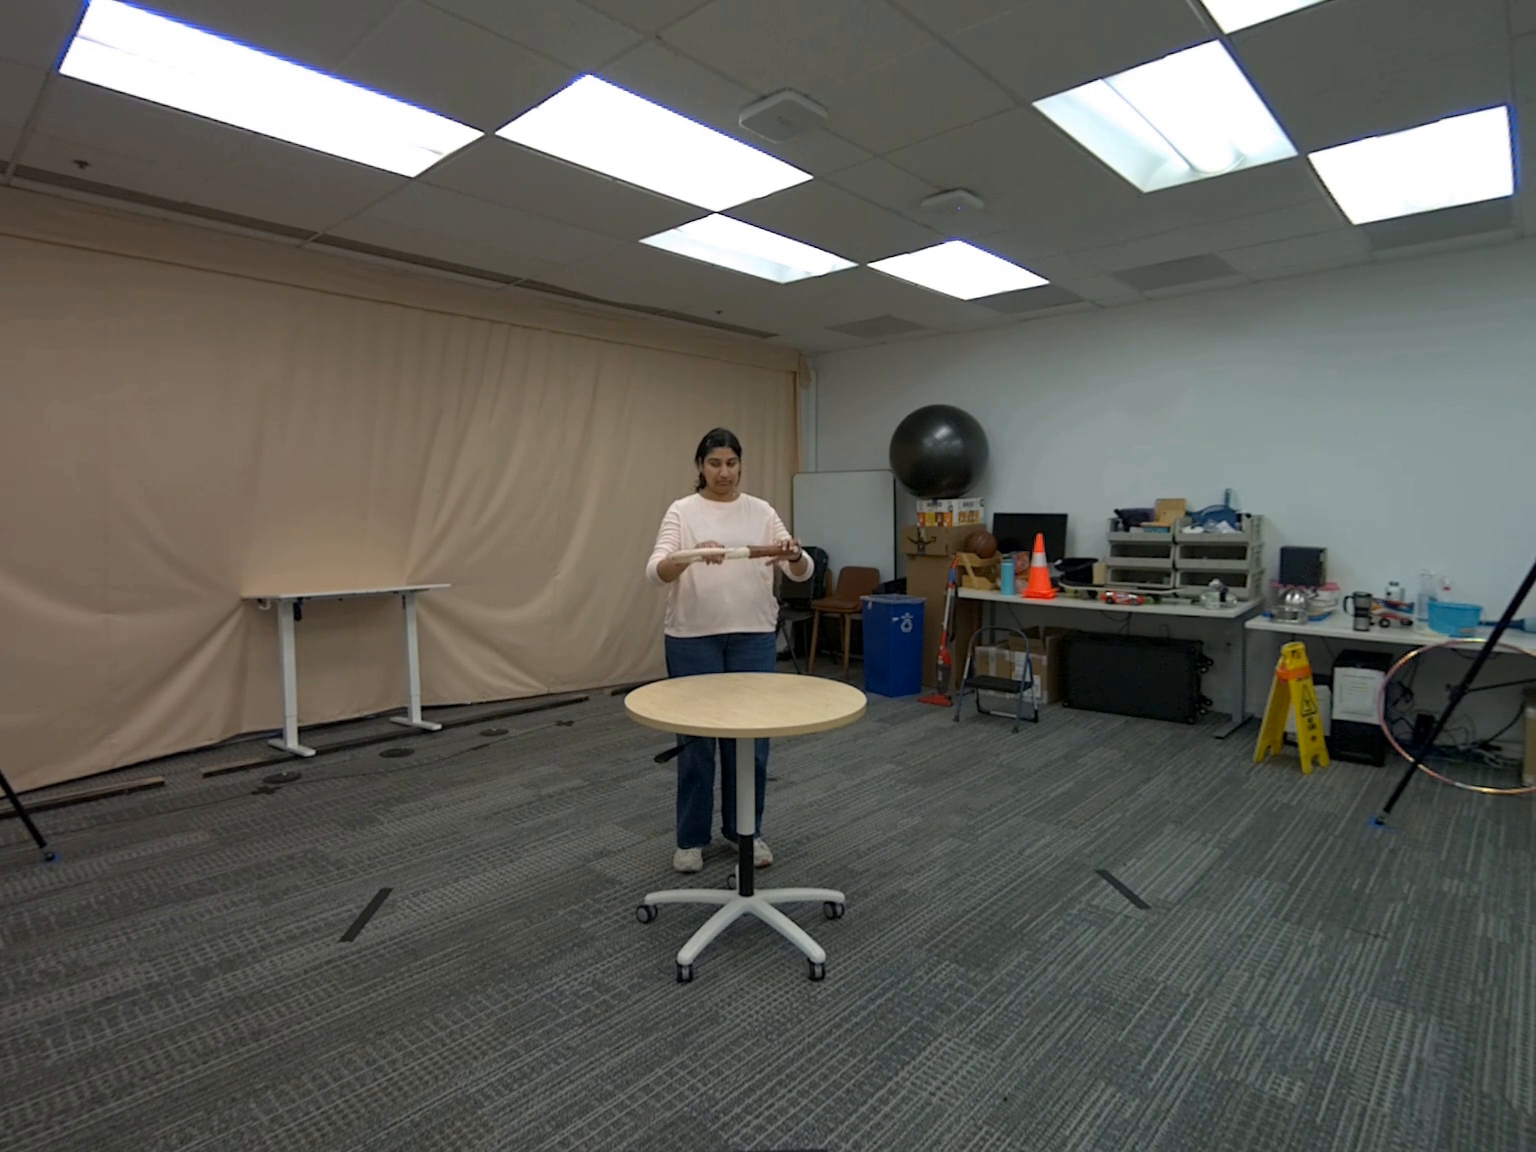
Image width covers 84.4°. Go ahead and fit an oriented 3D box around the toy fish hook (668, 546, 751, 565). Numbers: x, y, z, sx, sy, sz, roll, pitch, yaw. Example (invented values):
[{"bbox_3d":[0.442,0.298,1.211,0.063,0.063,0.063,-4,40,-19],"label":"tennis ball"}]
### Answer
[{"bbox_3d":[-0.068,-0.073,2.862,0.493,0.048,0.231,-5,2,-32],"label":"toy fish hook"}]
